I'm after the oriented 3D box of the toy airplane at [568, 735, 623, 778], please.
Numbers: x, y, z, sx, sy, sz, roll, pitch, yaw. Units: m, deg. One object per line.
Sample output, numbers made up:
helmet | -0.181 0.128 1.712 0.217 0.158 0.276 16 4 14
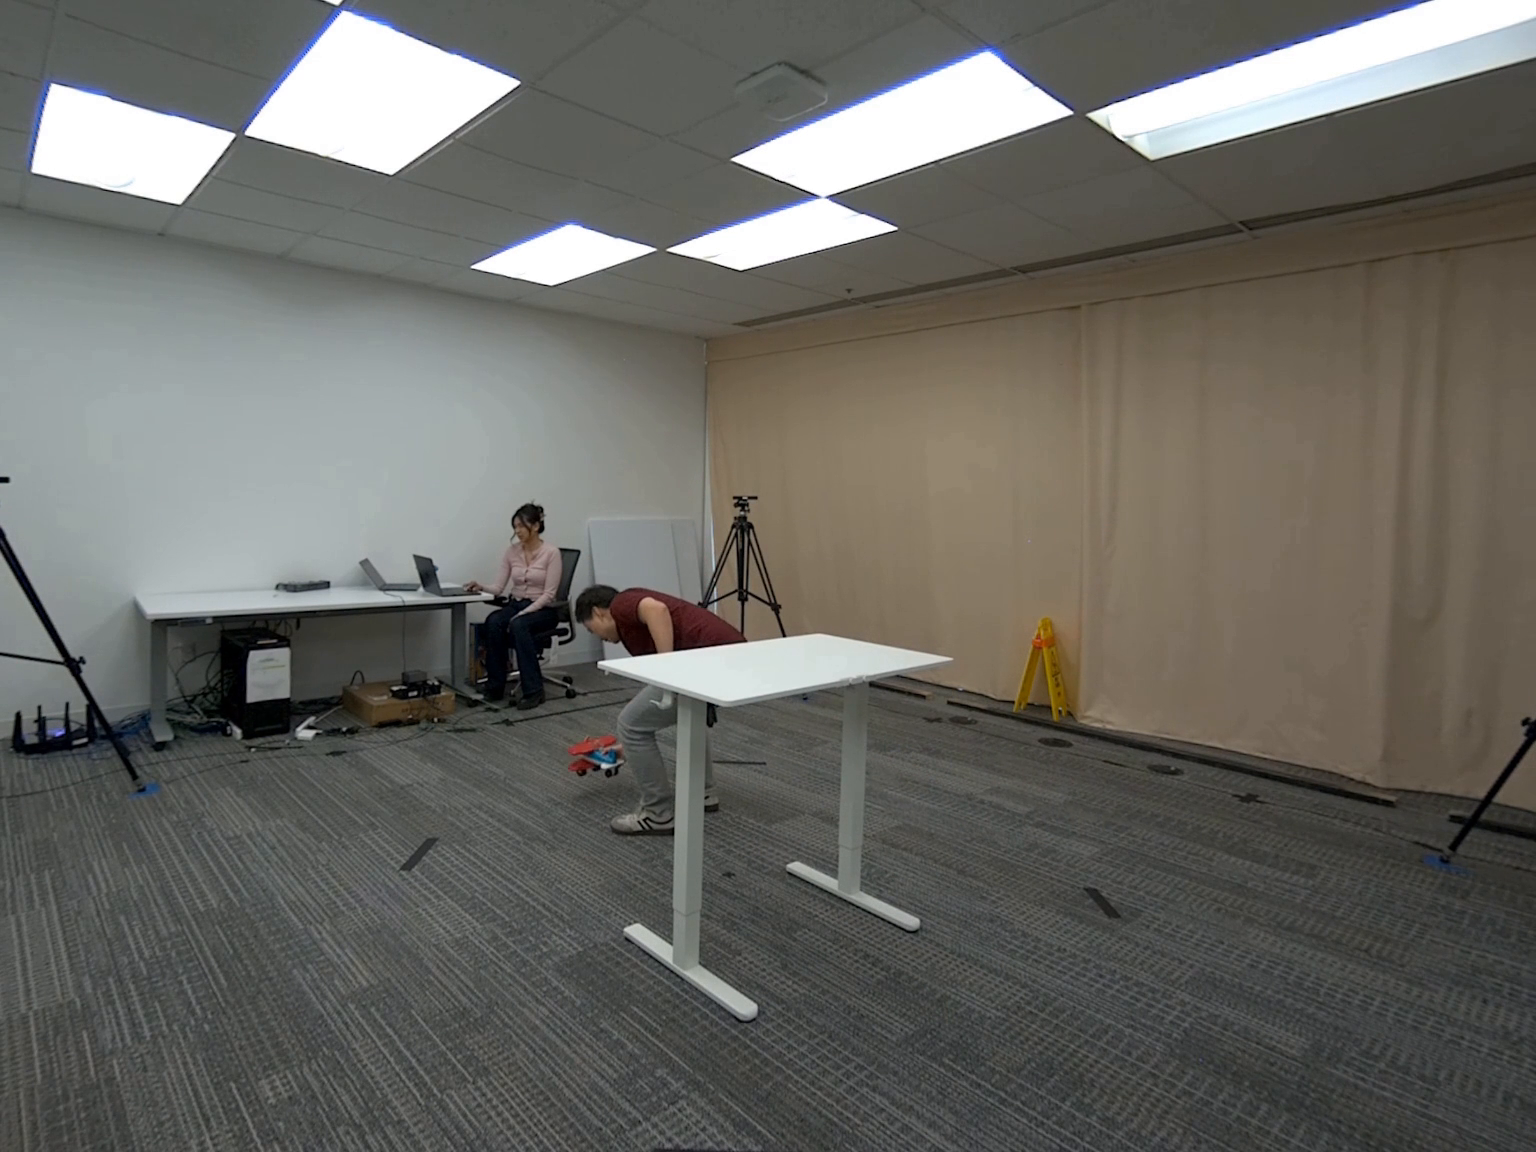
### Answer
toy airplane | -0.783 0.823 3.882 0.262 0.156 0.248 -8 1 14
